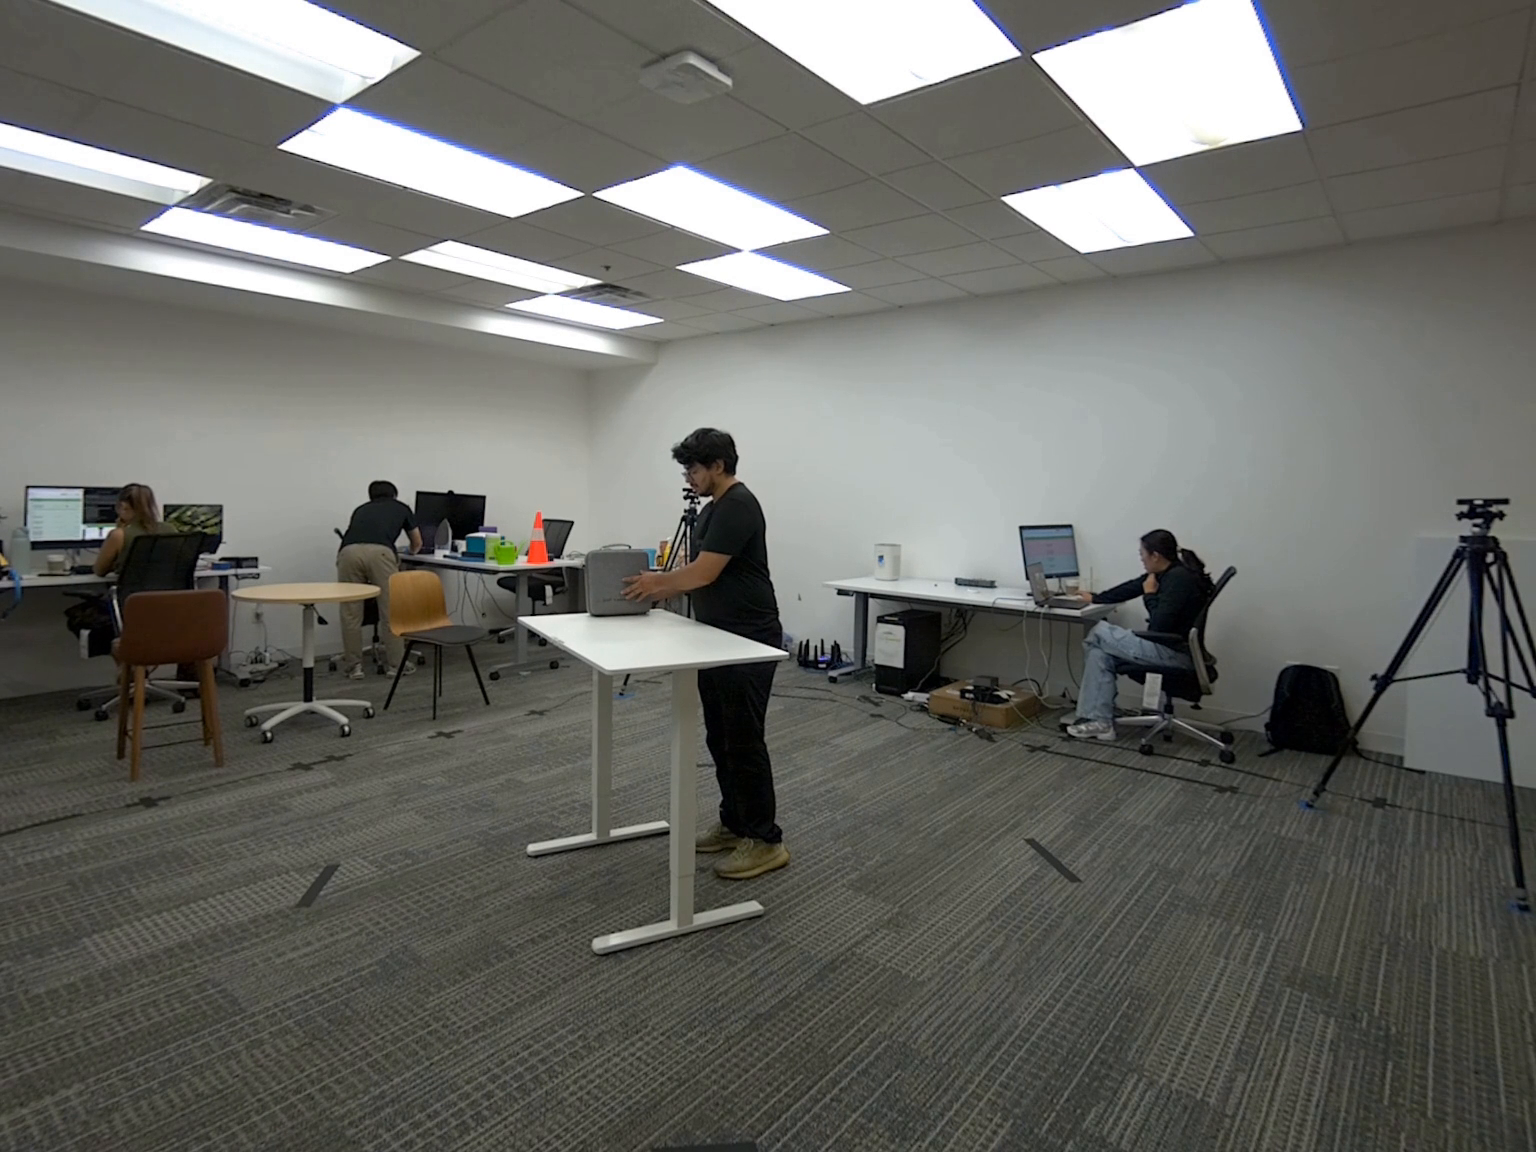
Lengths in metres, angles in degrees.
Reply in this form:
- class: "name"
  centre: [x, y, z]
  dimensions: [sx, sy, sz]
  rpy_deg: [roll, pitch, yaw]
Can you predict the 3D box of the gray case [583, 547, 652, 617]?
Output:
- class: "gray case"
  centre: [-0.607, 0.023, 3.380]
  dimensions: [0.252, 0.262, 0.106]
  rpy_deg: [-2, -6, -21]
